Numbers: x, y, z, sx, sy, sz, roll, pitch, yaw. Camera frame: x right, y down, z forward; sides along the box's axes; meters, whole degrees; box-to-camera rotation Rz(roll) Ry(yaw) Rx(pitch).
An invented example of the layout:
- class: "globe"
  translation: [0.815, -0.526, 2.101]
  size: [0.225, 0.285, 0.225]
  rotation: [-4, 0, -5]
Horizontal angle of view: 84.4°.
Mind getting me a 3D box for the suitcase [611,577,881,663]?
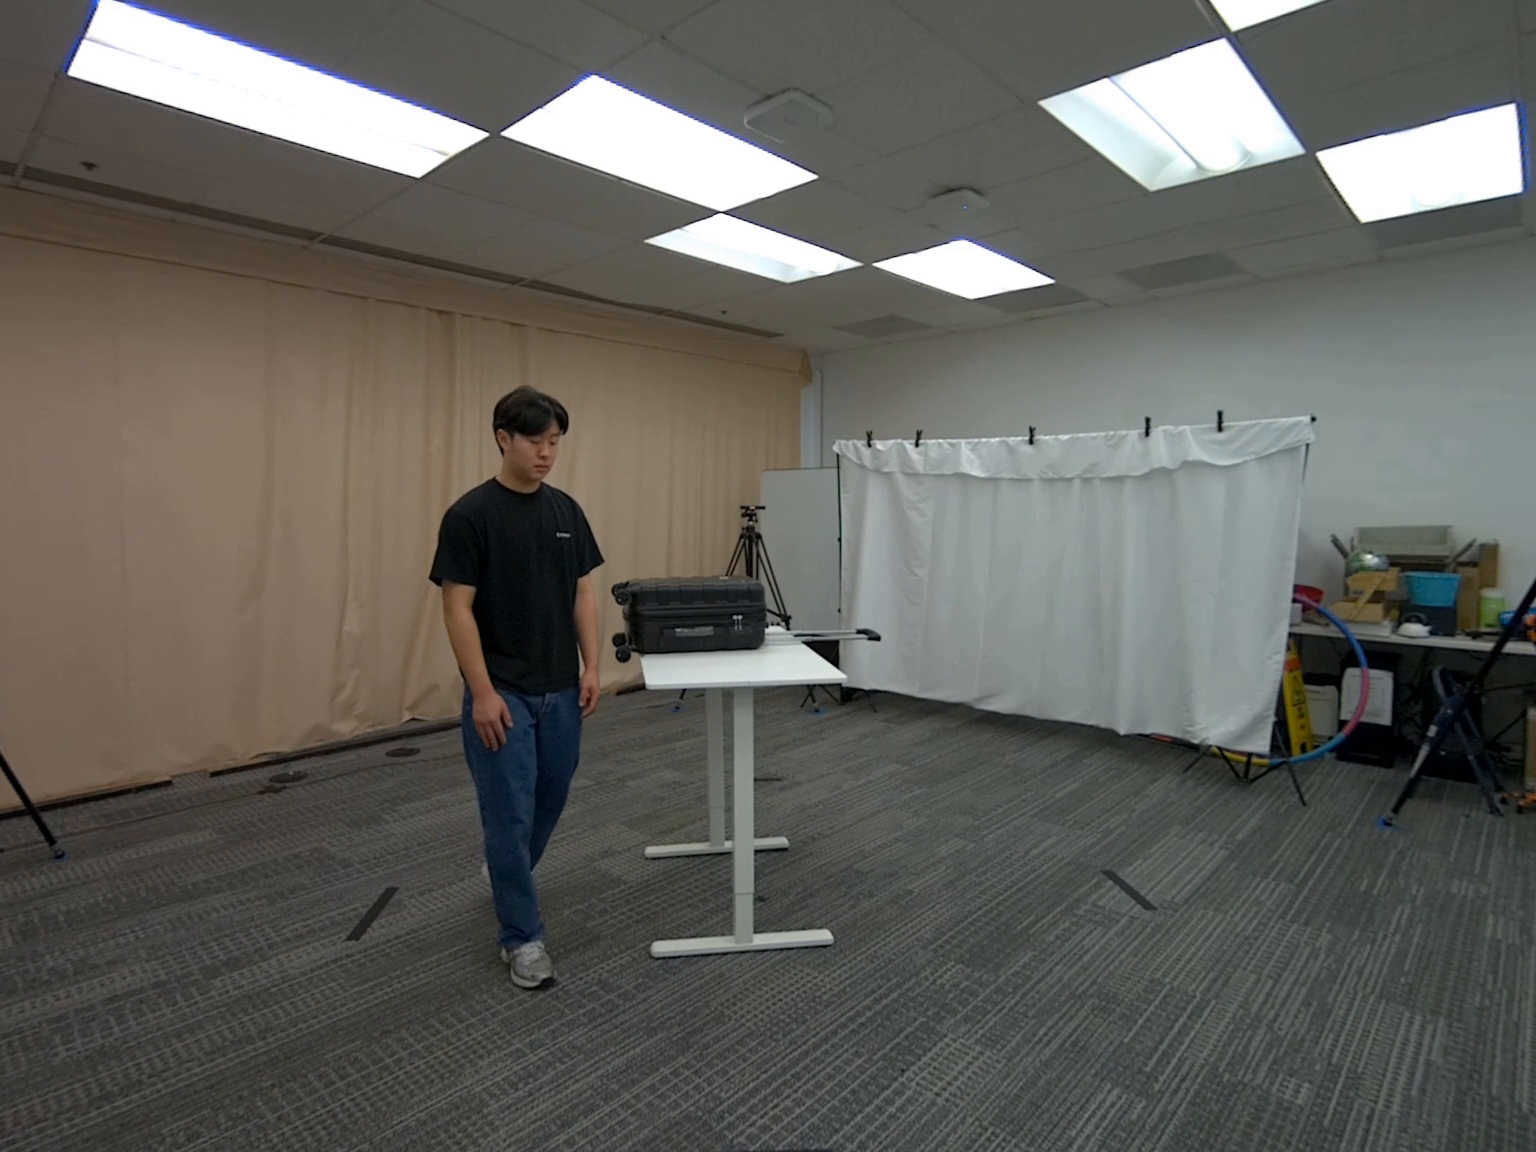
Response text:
- class: "suitcase"
  translation: [-0.081, 0.126, 3.108]
  size: [0.970, 0.256, 0.388]
  rotation: [-4, 4, -9]
